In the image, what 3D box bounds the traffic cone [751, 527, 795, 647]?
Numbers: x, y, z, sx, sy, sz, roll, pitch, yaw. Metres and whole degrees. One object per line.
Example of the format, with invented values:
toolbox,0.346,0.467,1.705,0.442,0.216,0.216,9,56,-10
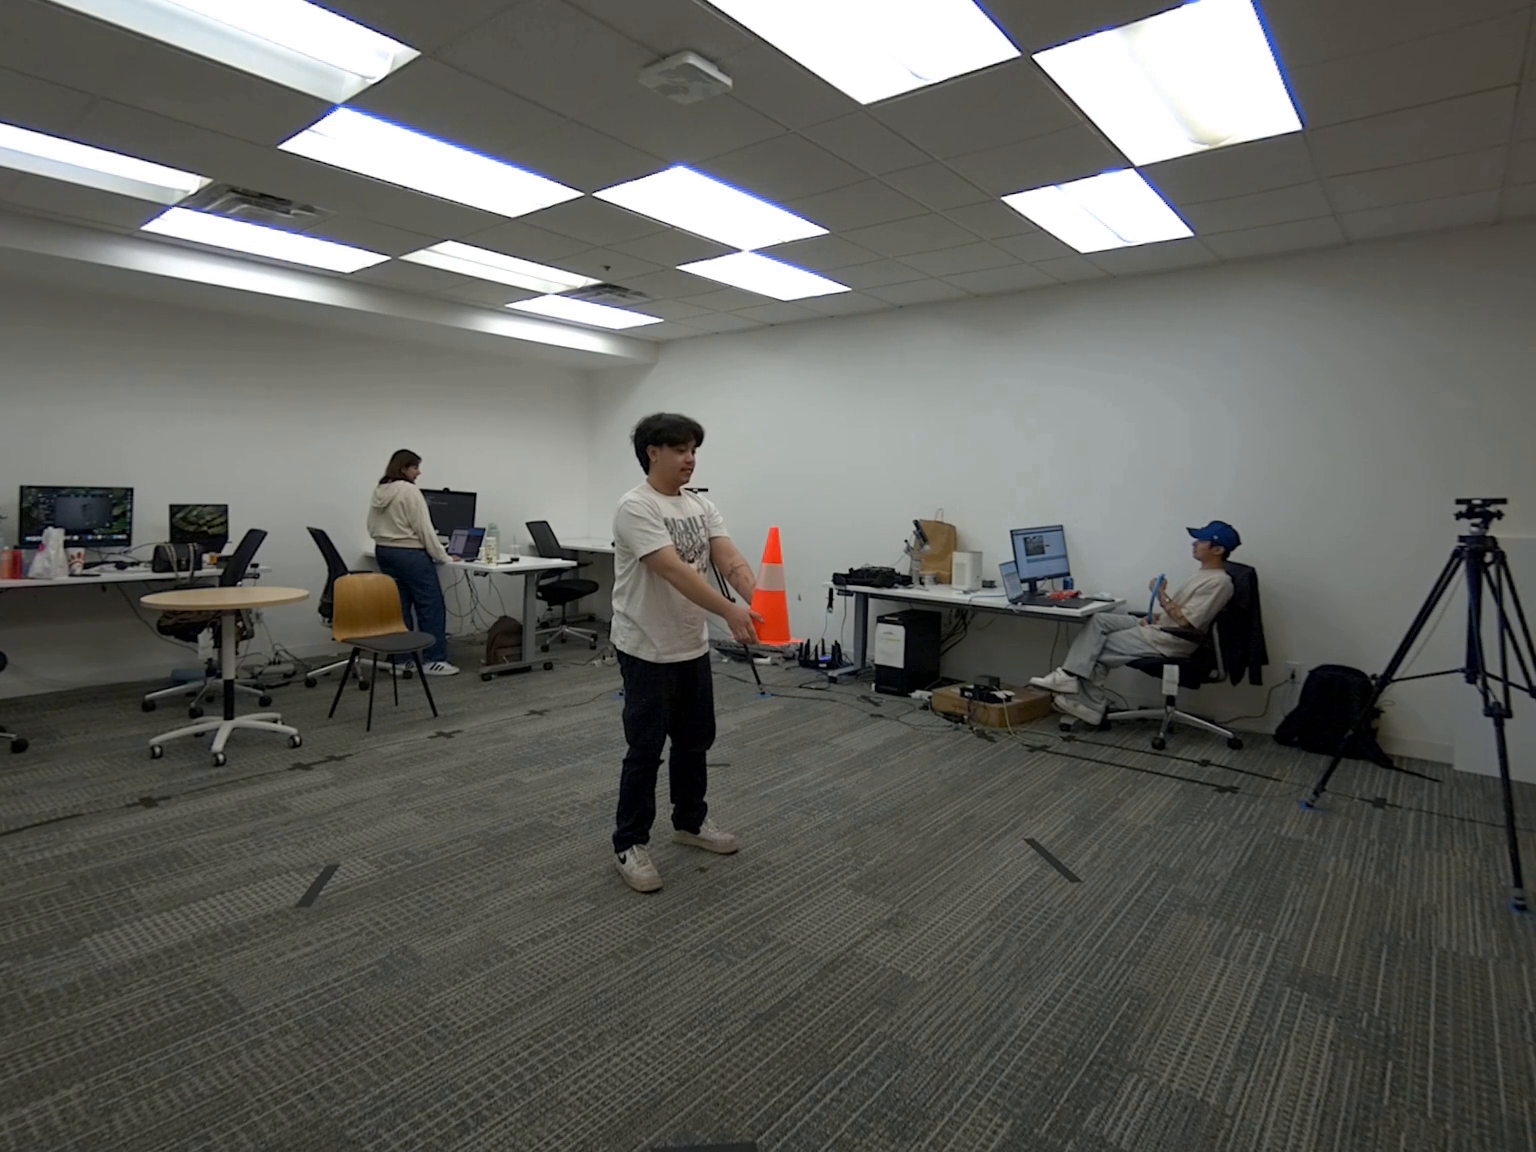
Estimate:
traffic cone,0.008,0.020,2.878,0.207,0.383,0.201,4,2,17
